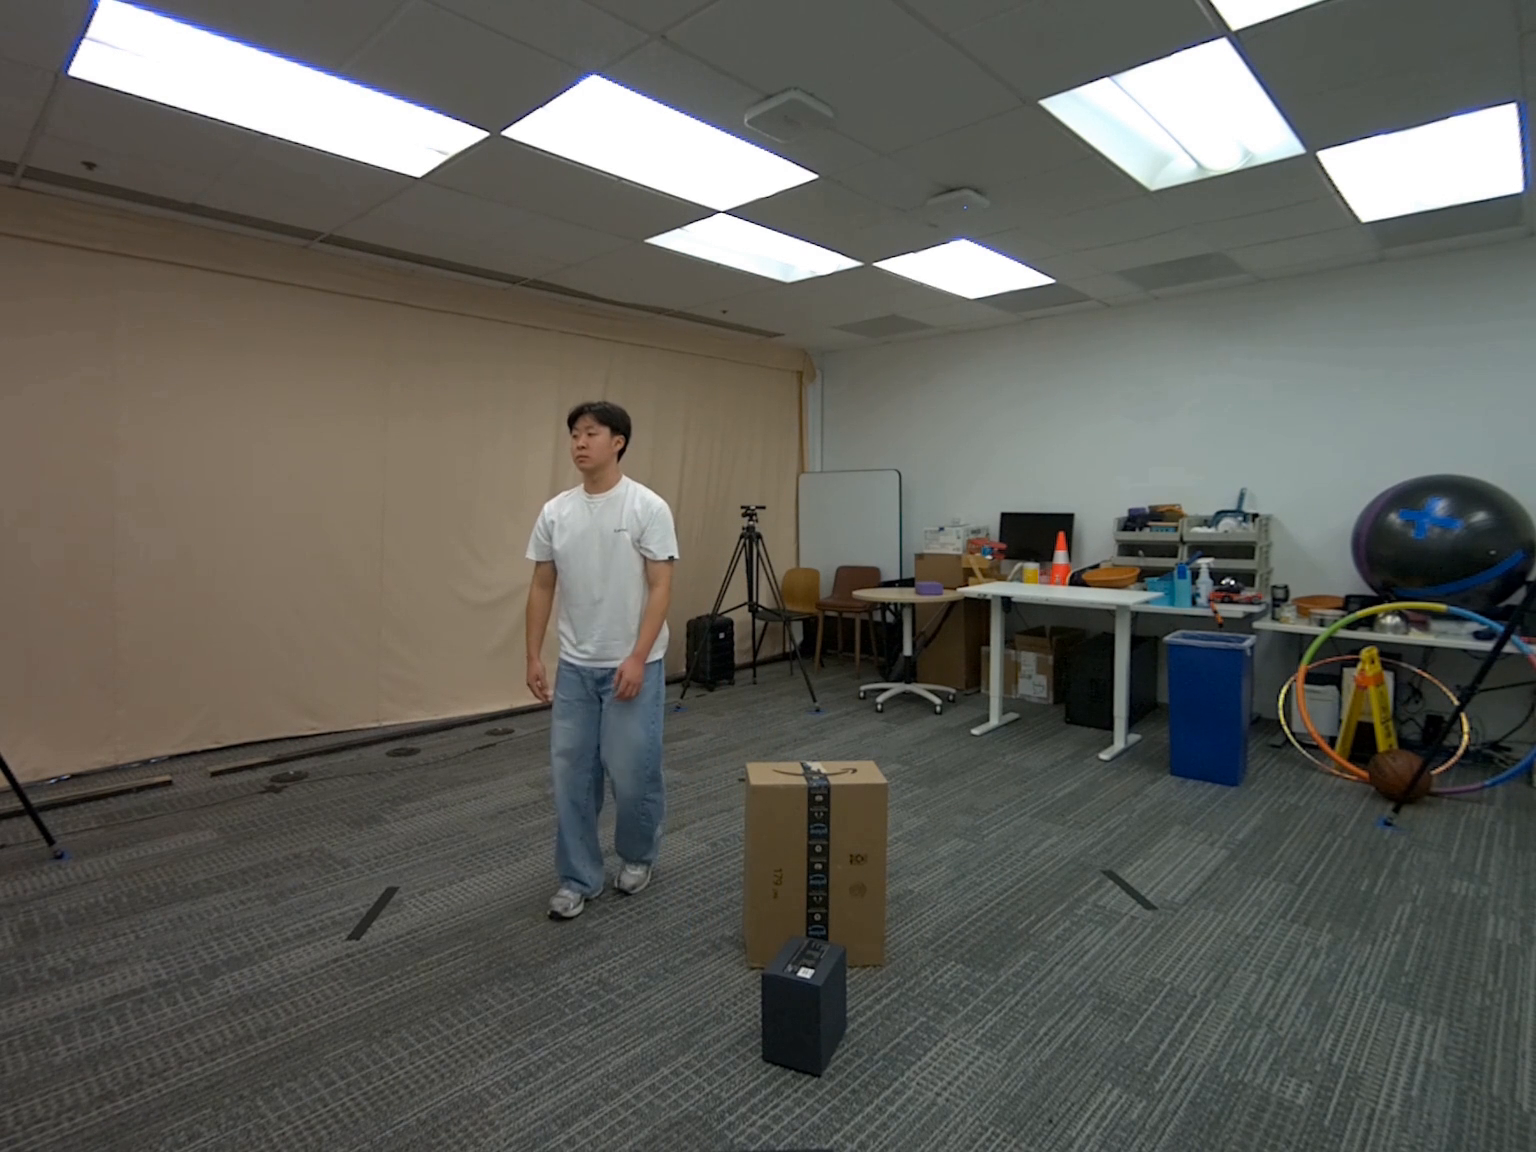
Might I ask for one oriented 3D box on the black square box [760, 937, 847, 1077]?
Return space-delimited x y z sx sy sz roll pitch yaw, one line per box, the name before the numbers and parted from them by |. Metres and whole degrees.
black square box | 0.096 1.086 2.169 0.160 0.227 0.212 0 3 23
